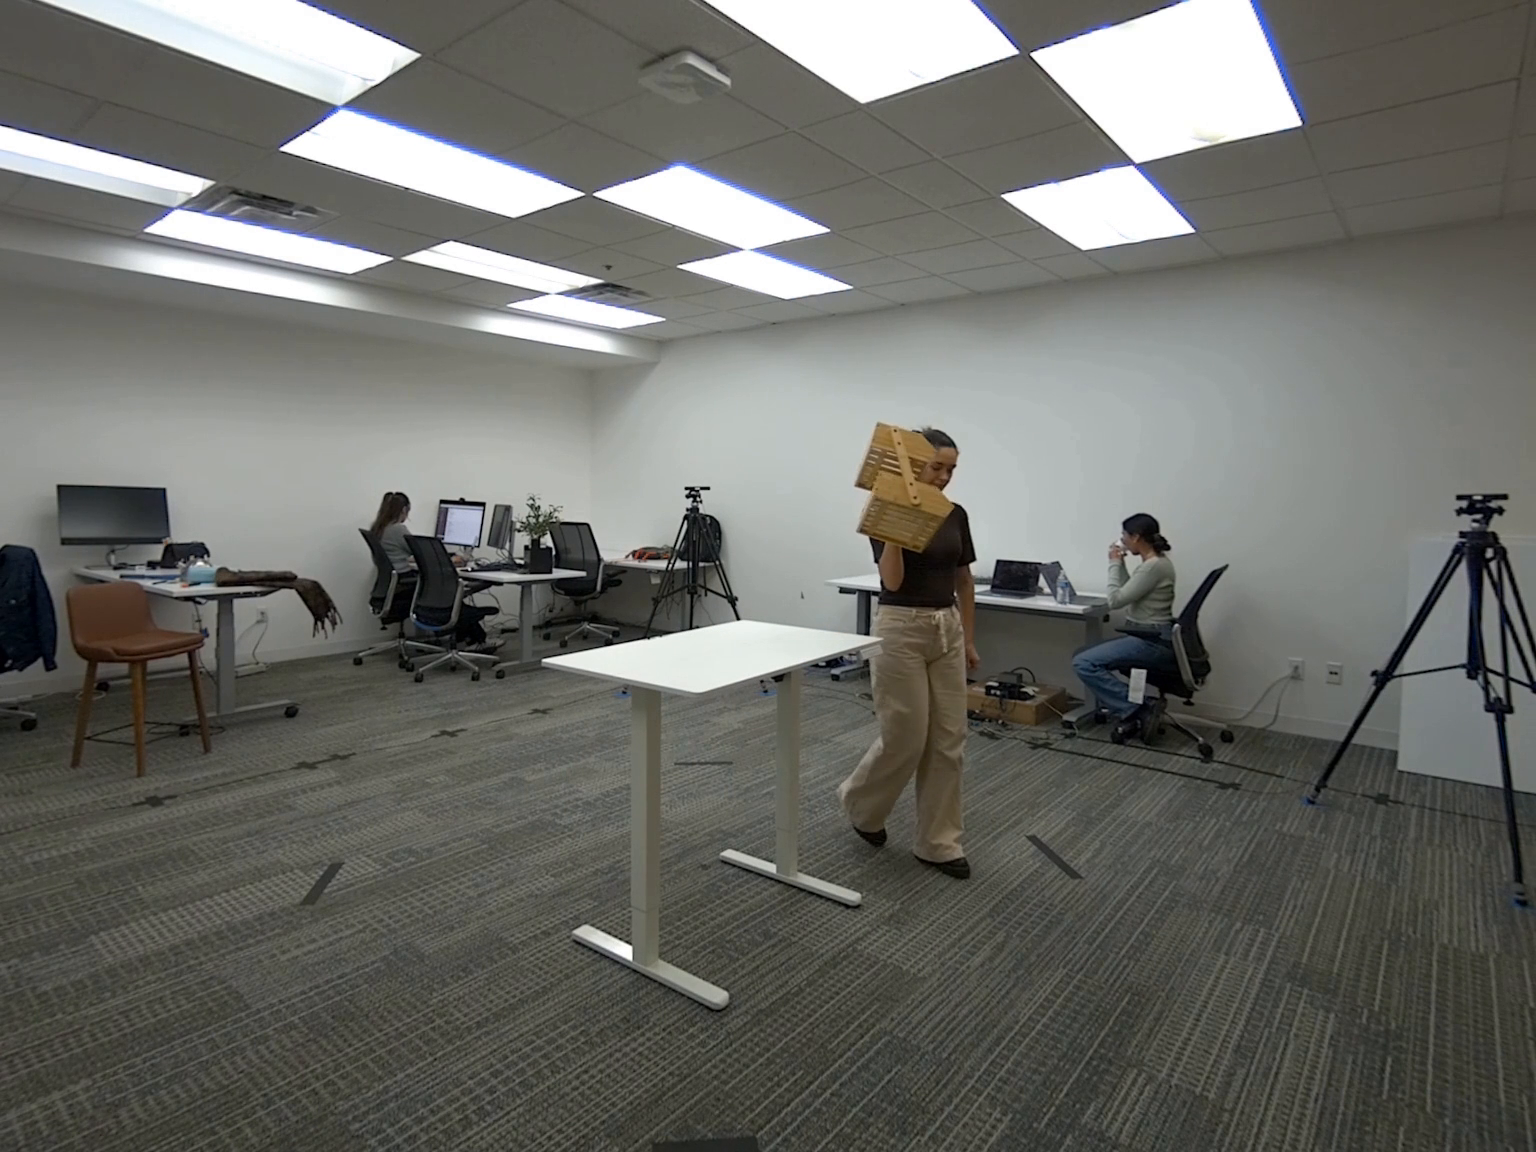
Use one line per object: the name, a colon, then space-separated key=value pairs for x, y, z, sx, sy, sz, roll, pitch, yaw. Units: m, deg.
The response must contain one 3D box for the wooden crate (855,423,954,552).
wooden crate: x=0.439 y=-0.292 z=2.816 sx=0.304 sy=0.276 sz=0.319 roll=17 pitch=-21 yaw=3
